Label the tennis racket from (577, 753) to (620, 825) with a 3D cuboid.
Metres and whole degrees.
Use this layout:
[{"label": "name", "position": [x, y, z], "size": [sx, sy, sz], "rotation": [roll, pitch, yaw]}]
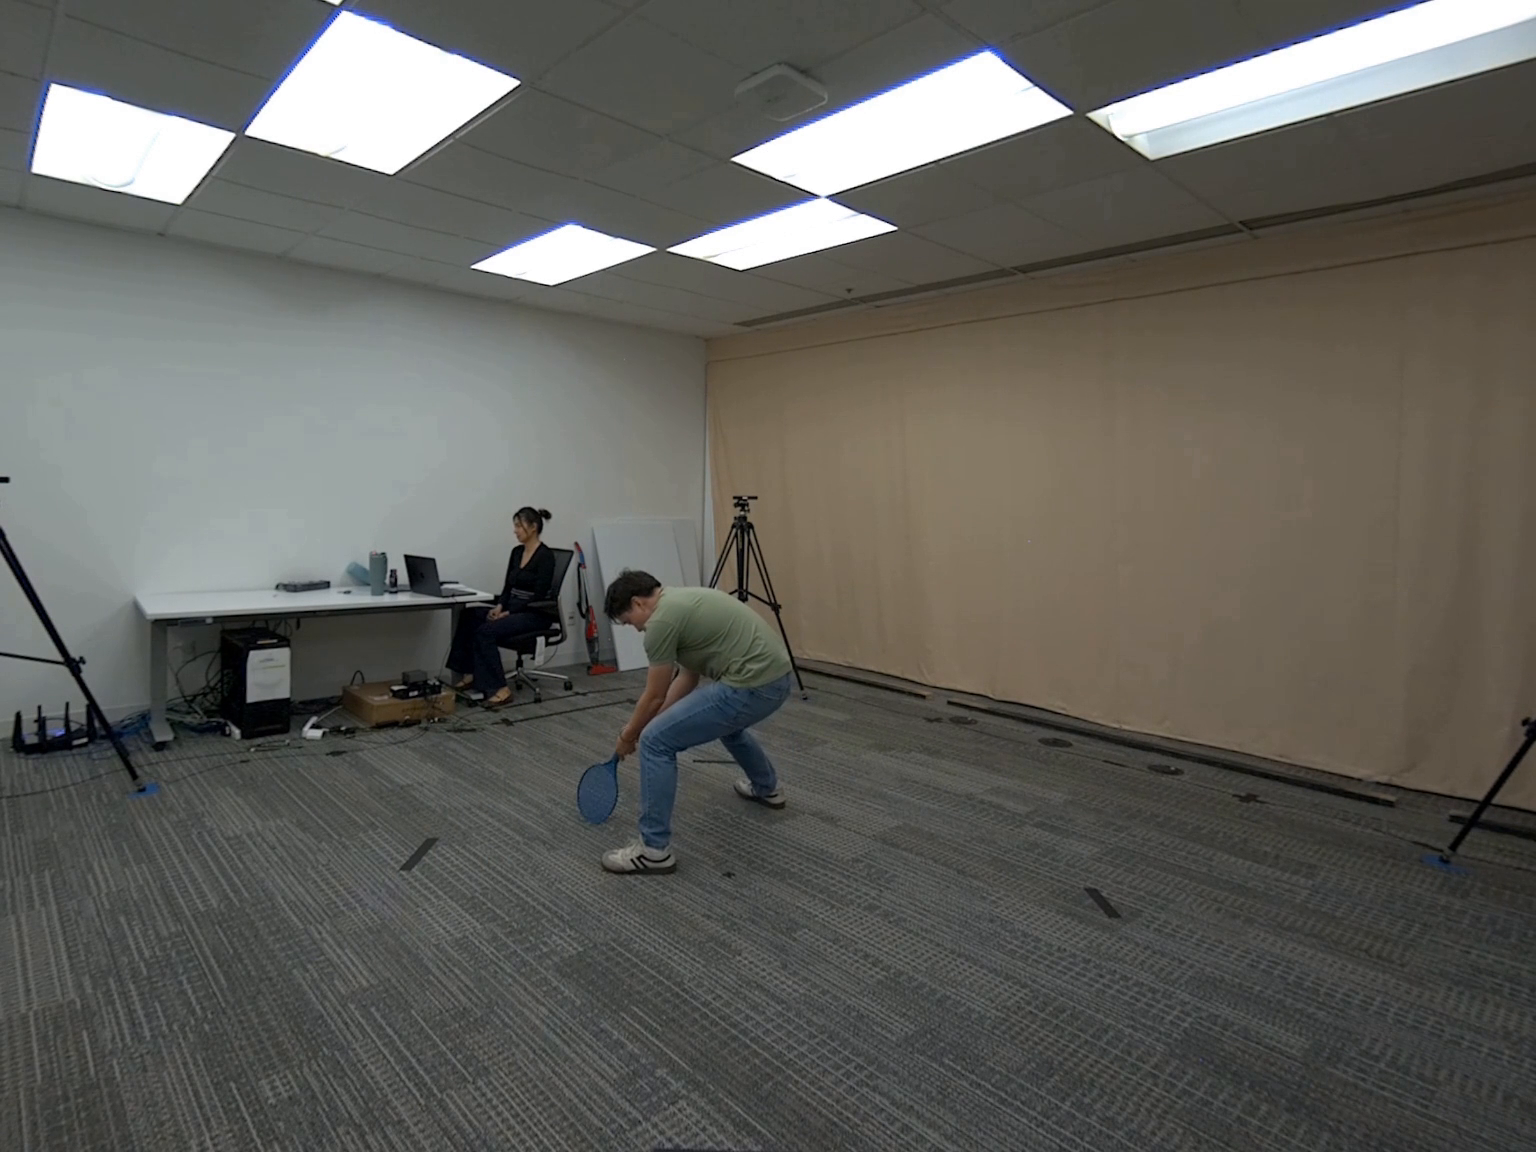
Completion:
[{"label": "tennis racket", "position": [-0.688, 0.857, 3.536], "size": [0.219, 0.431, 0.031], "rotation": [40, 20, 27]}]
